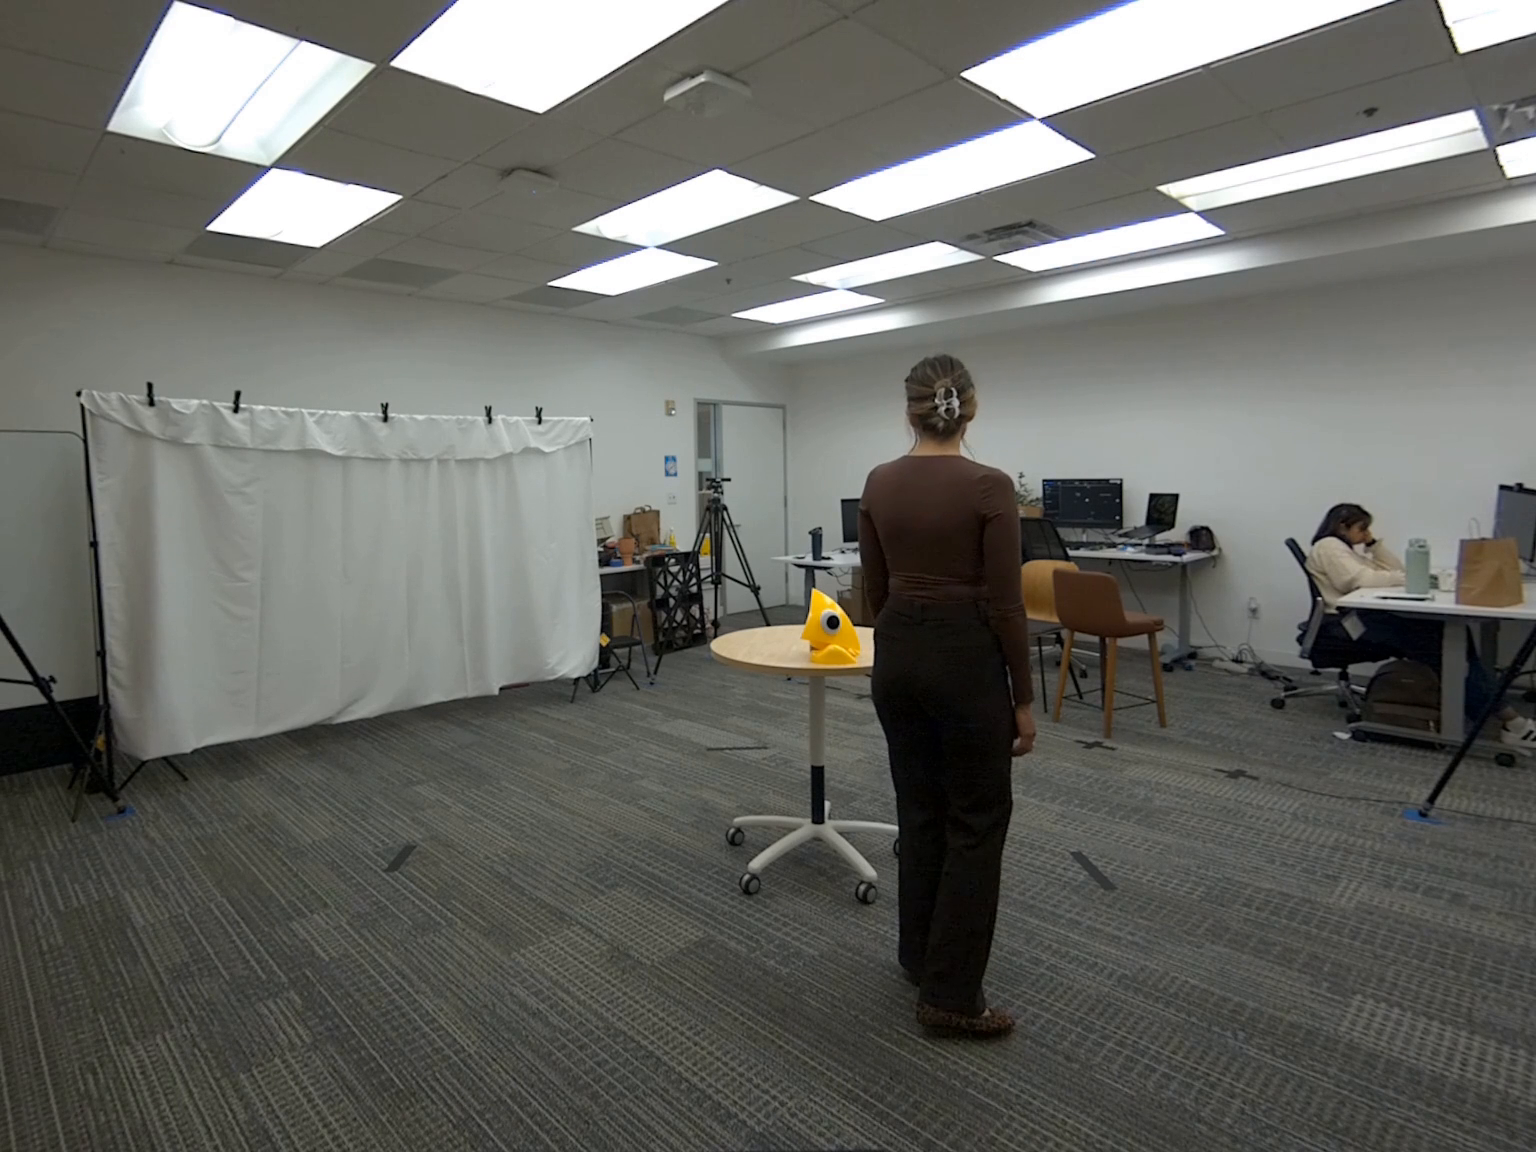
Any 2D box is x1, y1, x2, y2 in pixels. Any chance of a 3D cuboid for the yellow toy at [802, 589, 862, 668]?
[{"bbox_3d":[0.211,0.155,2.837,0.195,0.230,0.203,-1,5,12],"label":"yellow toy"}]
